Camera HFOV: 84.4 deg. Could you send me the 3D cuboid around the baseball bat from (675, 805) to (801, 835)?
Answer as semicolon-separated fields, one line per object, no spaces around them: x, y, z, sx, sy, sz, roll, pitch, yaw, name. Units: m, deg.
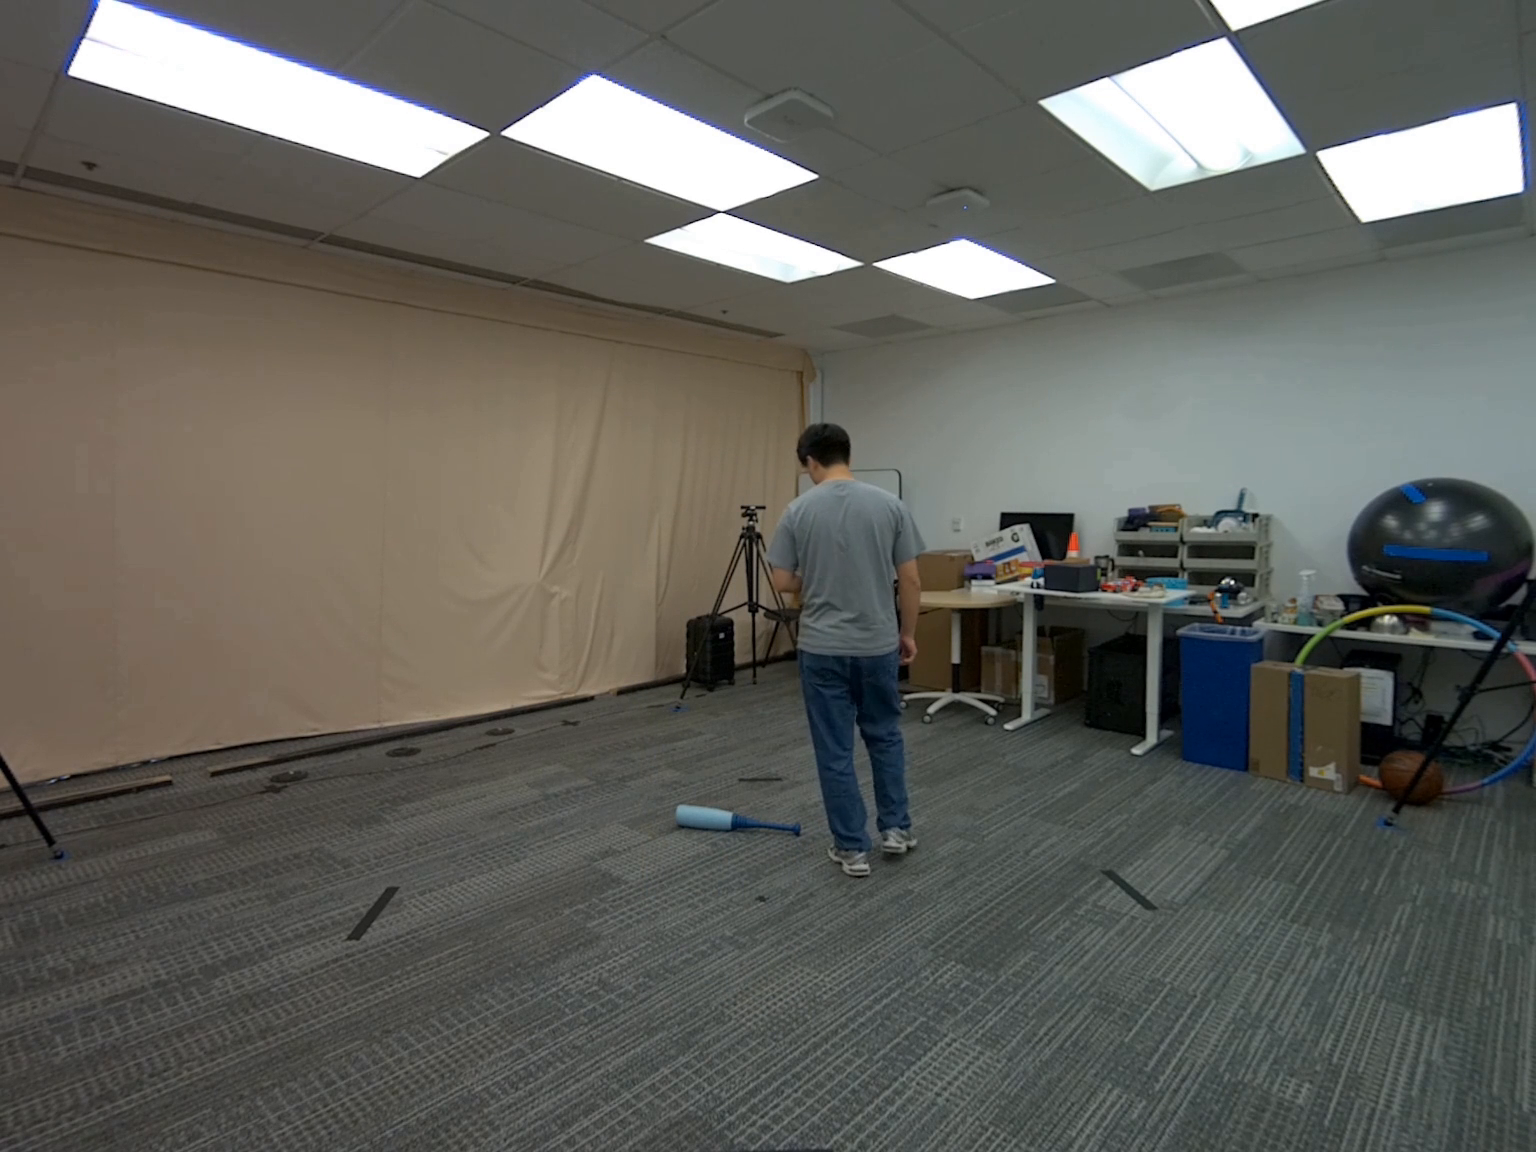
-0.131;1.056;3.616;0.549;0.089;0.088;3;4;10;baseball bat
